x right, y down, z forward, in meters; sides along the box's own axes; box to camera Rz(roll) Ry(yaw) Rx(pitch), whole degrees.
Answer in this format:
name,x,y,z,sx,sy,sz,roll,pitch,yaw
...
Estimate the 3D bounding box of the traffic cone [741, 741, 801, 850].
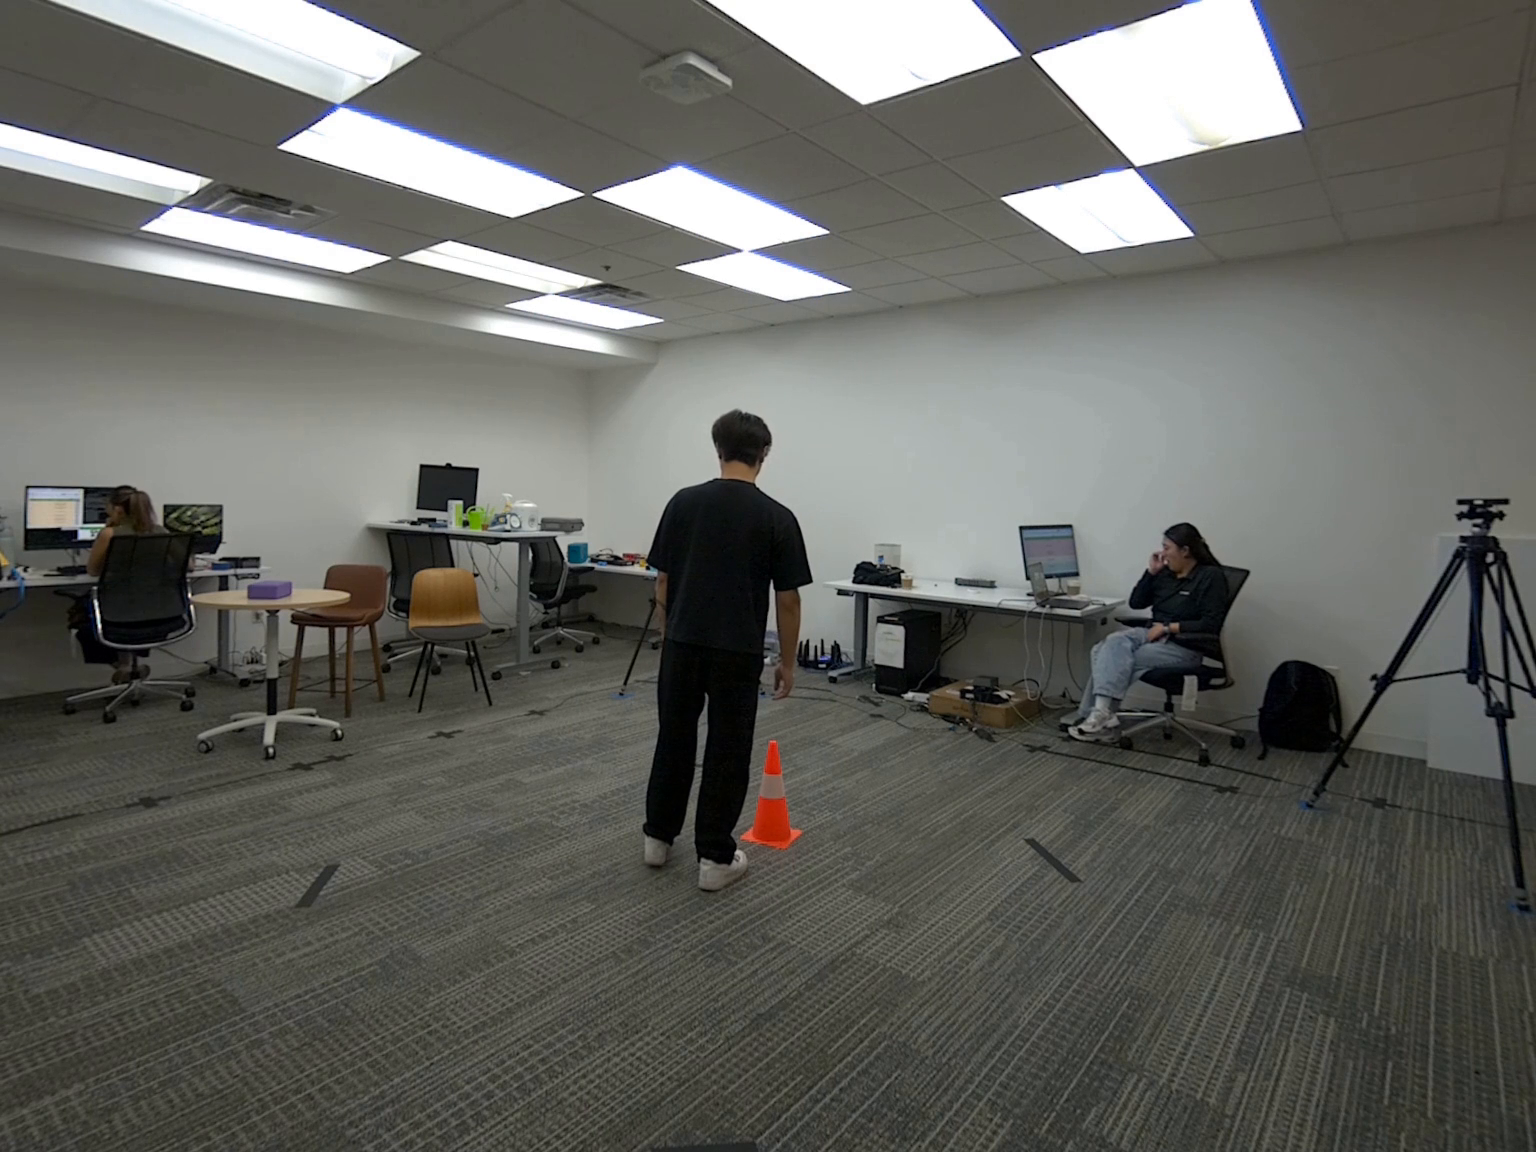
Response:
name,x,y,z,sx,sy,sz,roll,pitch,yaw
traffic cone,0.012,0.858,3.430,0.209,0.383,0.199,4,3,29
